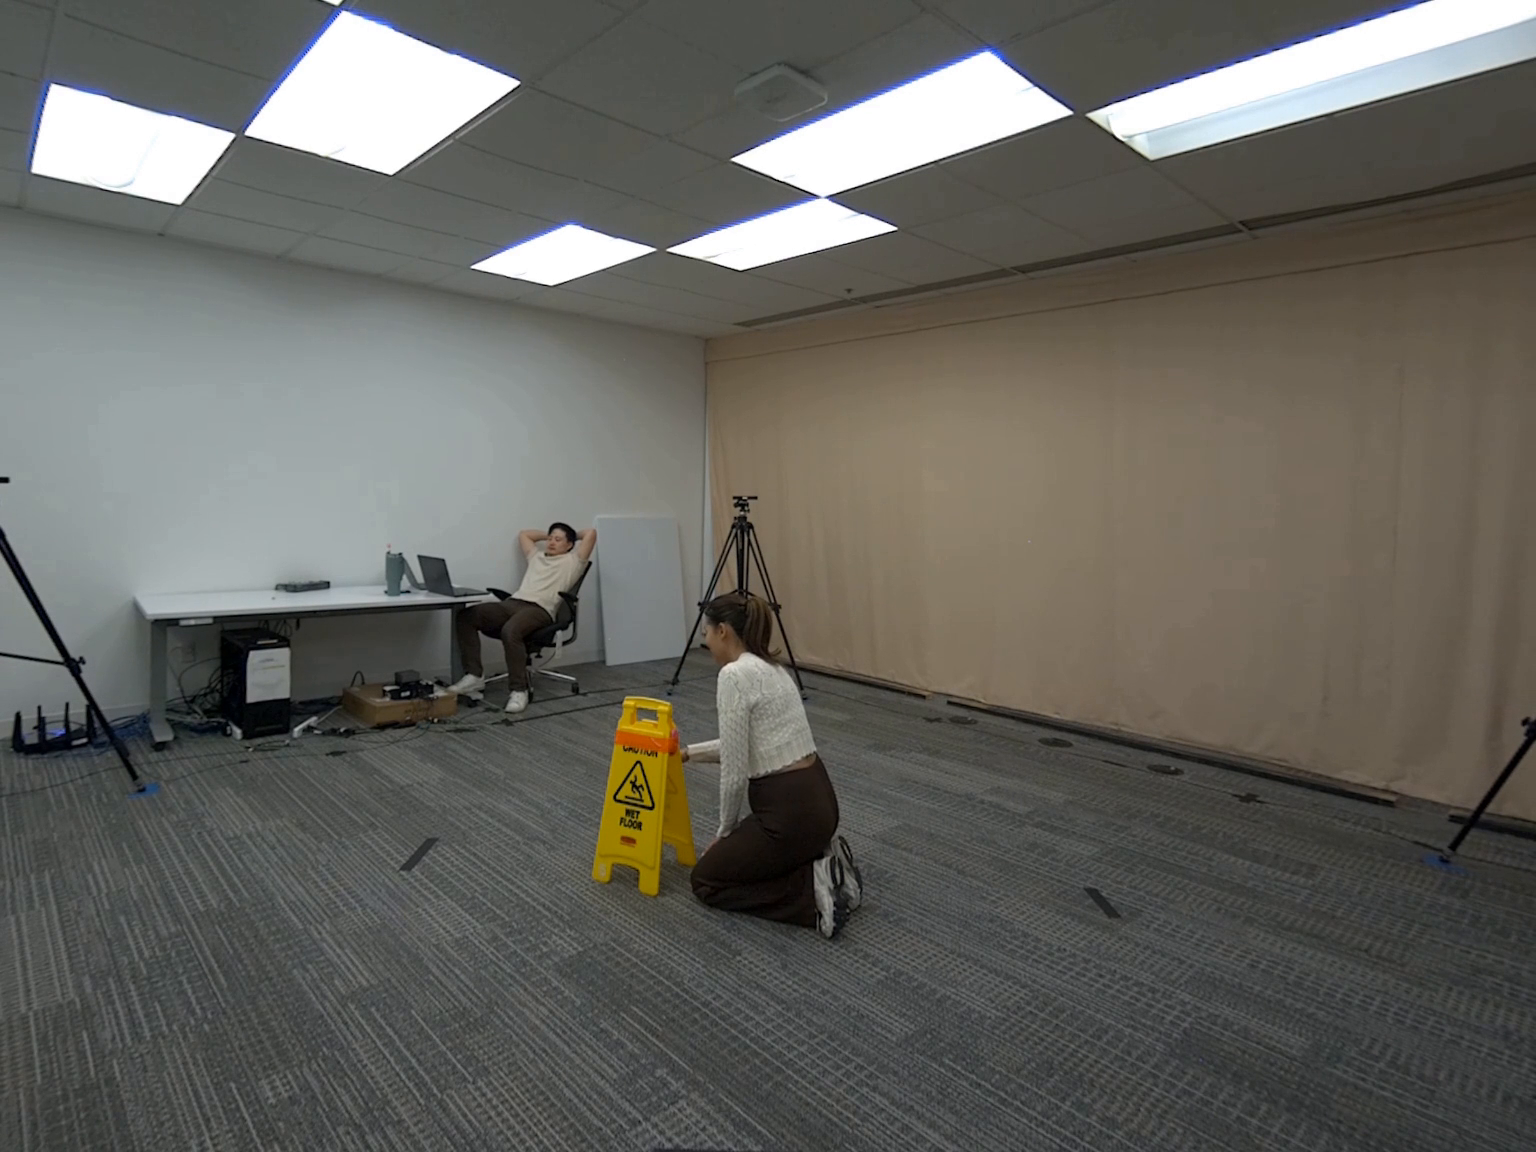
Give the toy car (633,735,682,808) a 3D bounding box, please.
[{"bbox_3d":[-0.416,0.733,3.177,0.132,0.250,0.084,2,24,14],"label":"toy car"}]
